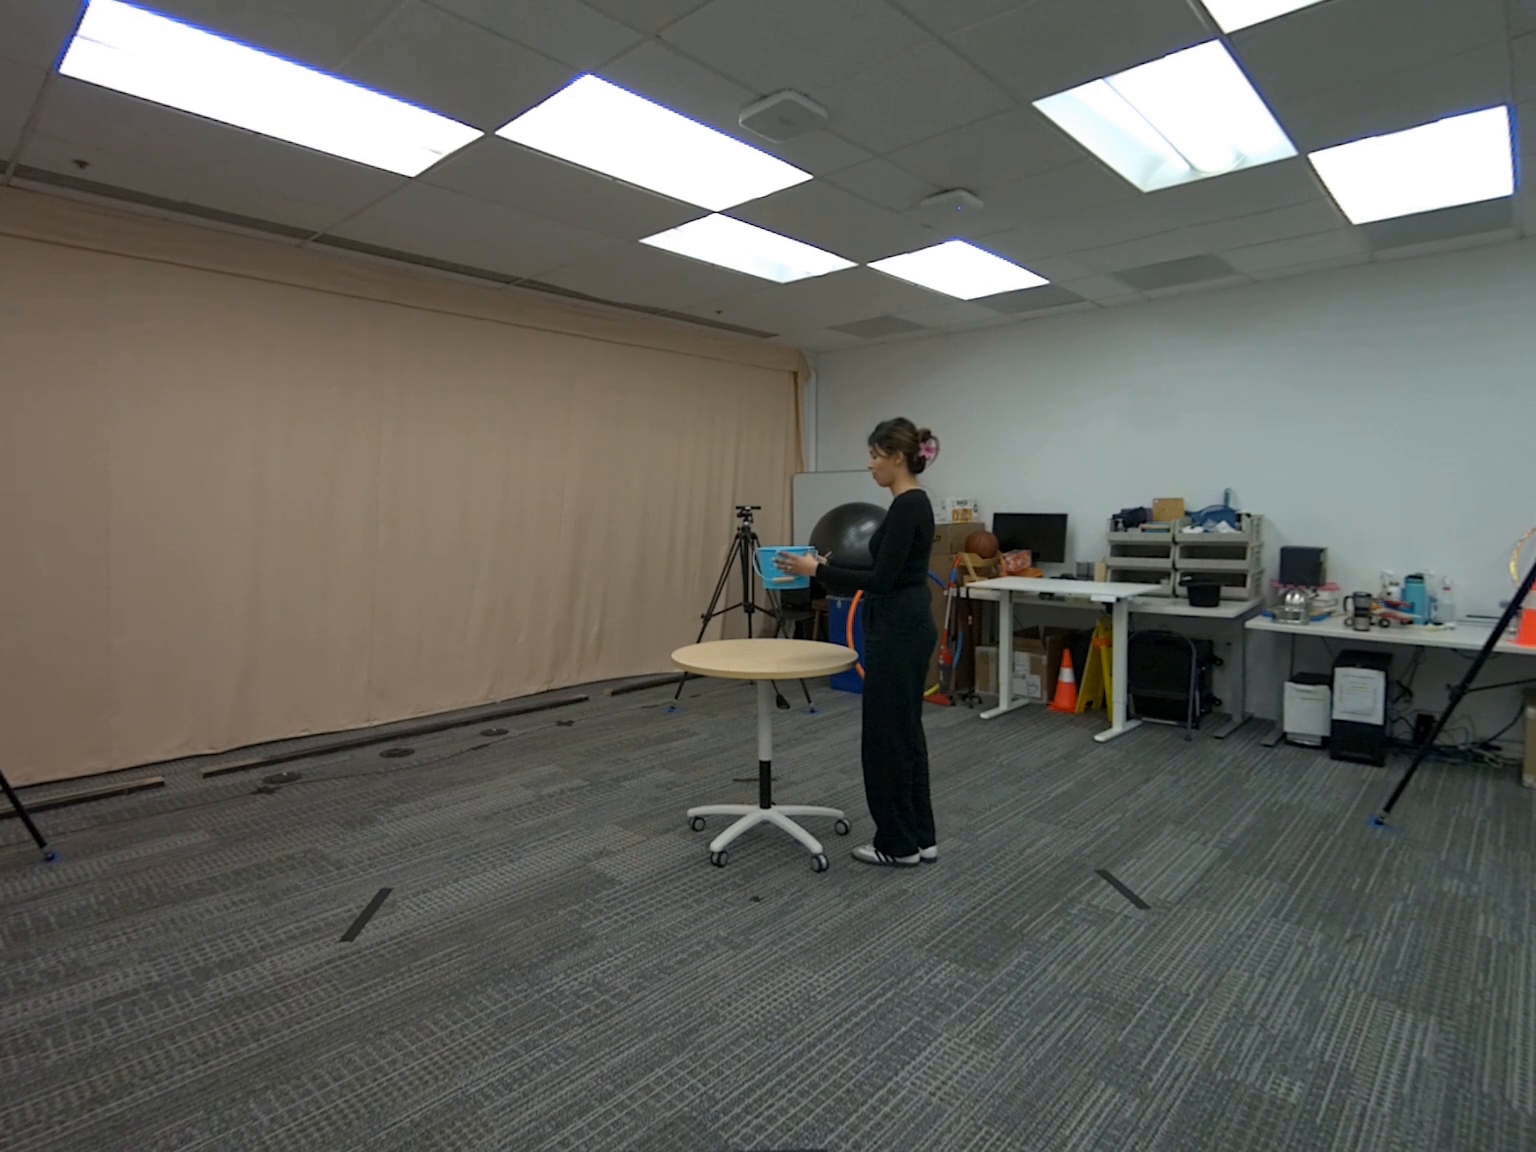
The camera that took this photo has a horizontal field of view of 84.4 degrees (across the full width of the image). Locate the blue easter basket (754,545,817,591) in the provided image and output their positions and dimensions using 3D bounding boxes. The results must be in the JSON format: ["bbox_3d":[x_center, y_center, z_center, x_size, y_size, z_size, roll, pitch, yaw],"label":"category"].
[{"bbox_3d":[0.081,-0.030,3.299,0.243,0.156,0.244,-1,2,-2],"label":"blue easter basket"}]
